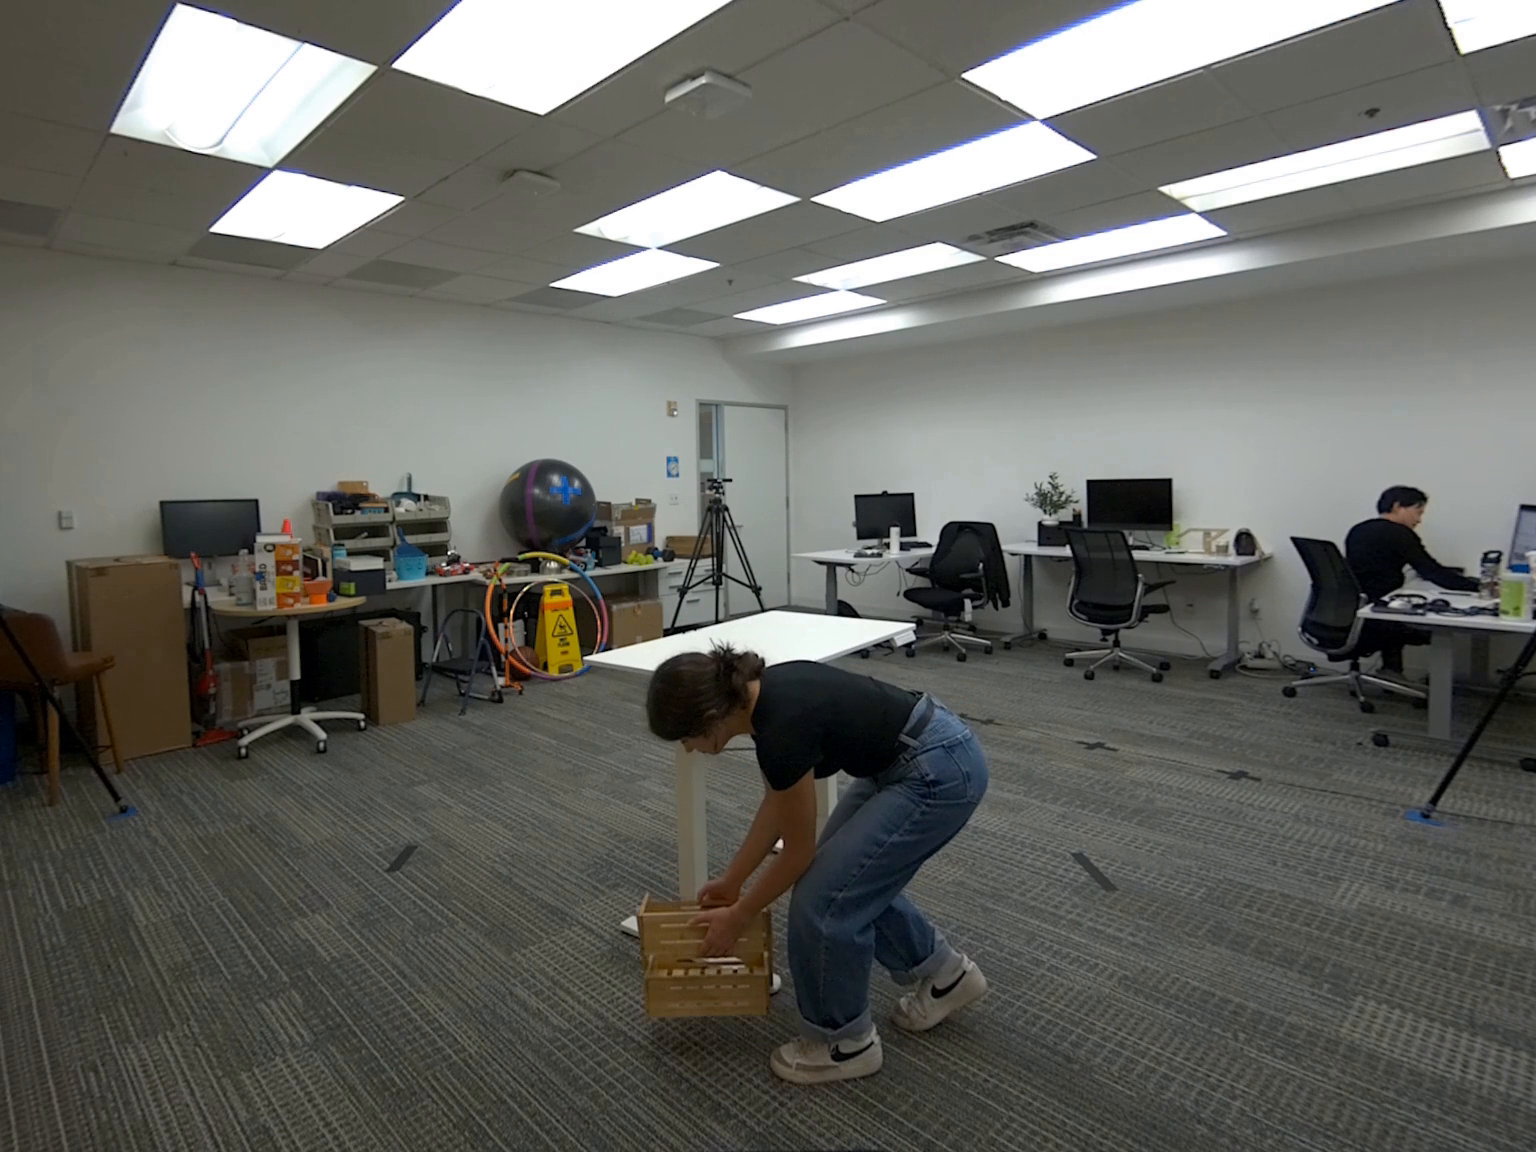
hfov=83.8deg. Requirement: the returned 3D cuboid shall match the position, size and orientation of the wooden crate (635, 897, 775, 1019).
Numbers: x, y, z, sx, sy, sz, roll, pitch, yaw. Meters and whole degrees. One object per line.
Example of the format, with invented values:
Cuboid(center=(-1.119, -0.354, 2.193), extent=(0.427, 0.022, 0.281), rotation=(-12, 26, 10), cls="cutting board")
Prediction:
Cuboid(center=(-0.141, 0.917, 2.155), extent=(0.325, 0.274, 0.301), rotation=(-3, -2, 0), cls="wooden crate")
